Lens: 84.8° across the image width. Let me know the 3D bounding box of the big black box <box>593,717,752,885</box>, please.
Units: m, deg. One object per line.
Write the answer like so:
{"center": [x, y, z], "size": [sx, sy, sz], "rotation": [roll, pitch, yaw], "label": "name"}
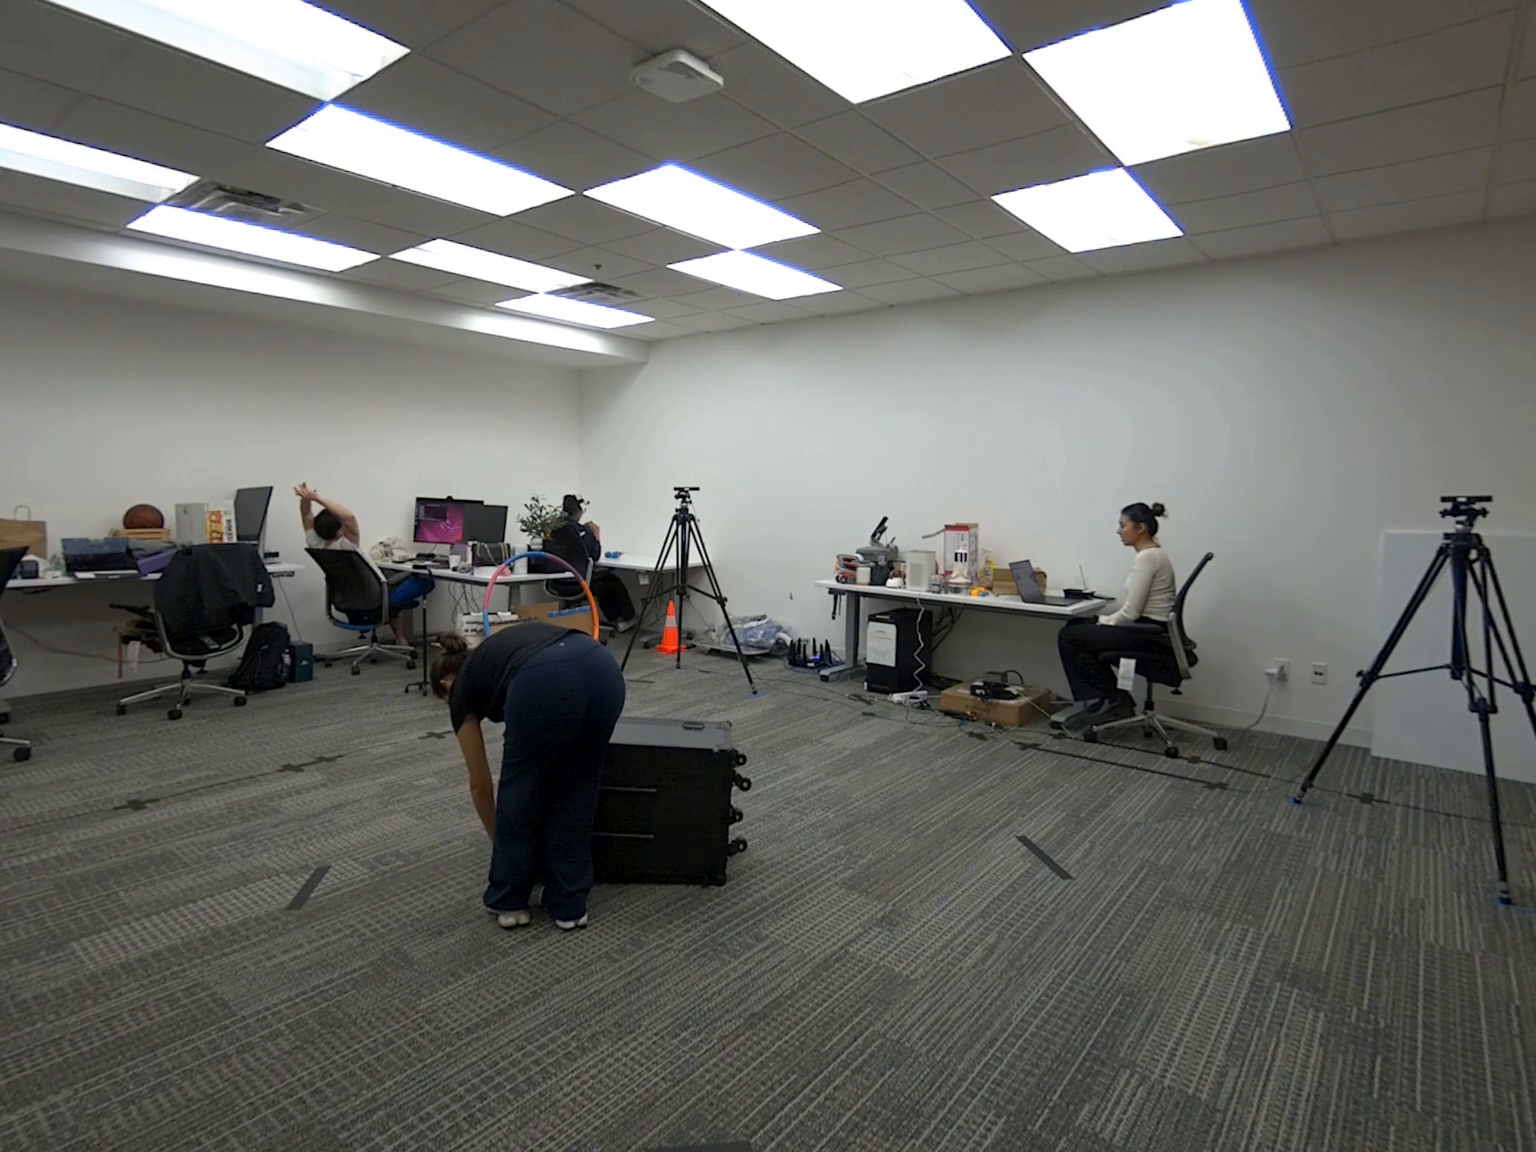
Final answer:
{"center": [-0.484, 0.787, 3.134], "size": [0.860, 0.520, 0.398], "rotation": [2, 4, -1], "label": "big black box"}
